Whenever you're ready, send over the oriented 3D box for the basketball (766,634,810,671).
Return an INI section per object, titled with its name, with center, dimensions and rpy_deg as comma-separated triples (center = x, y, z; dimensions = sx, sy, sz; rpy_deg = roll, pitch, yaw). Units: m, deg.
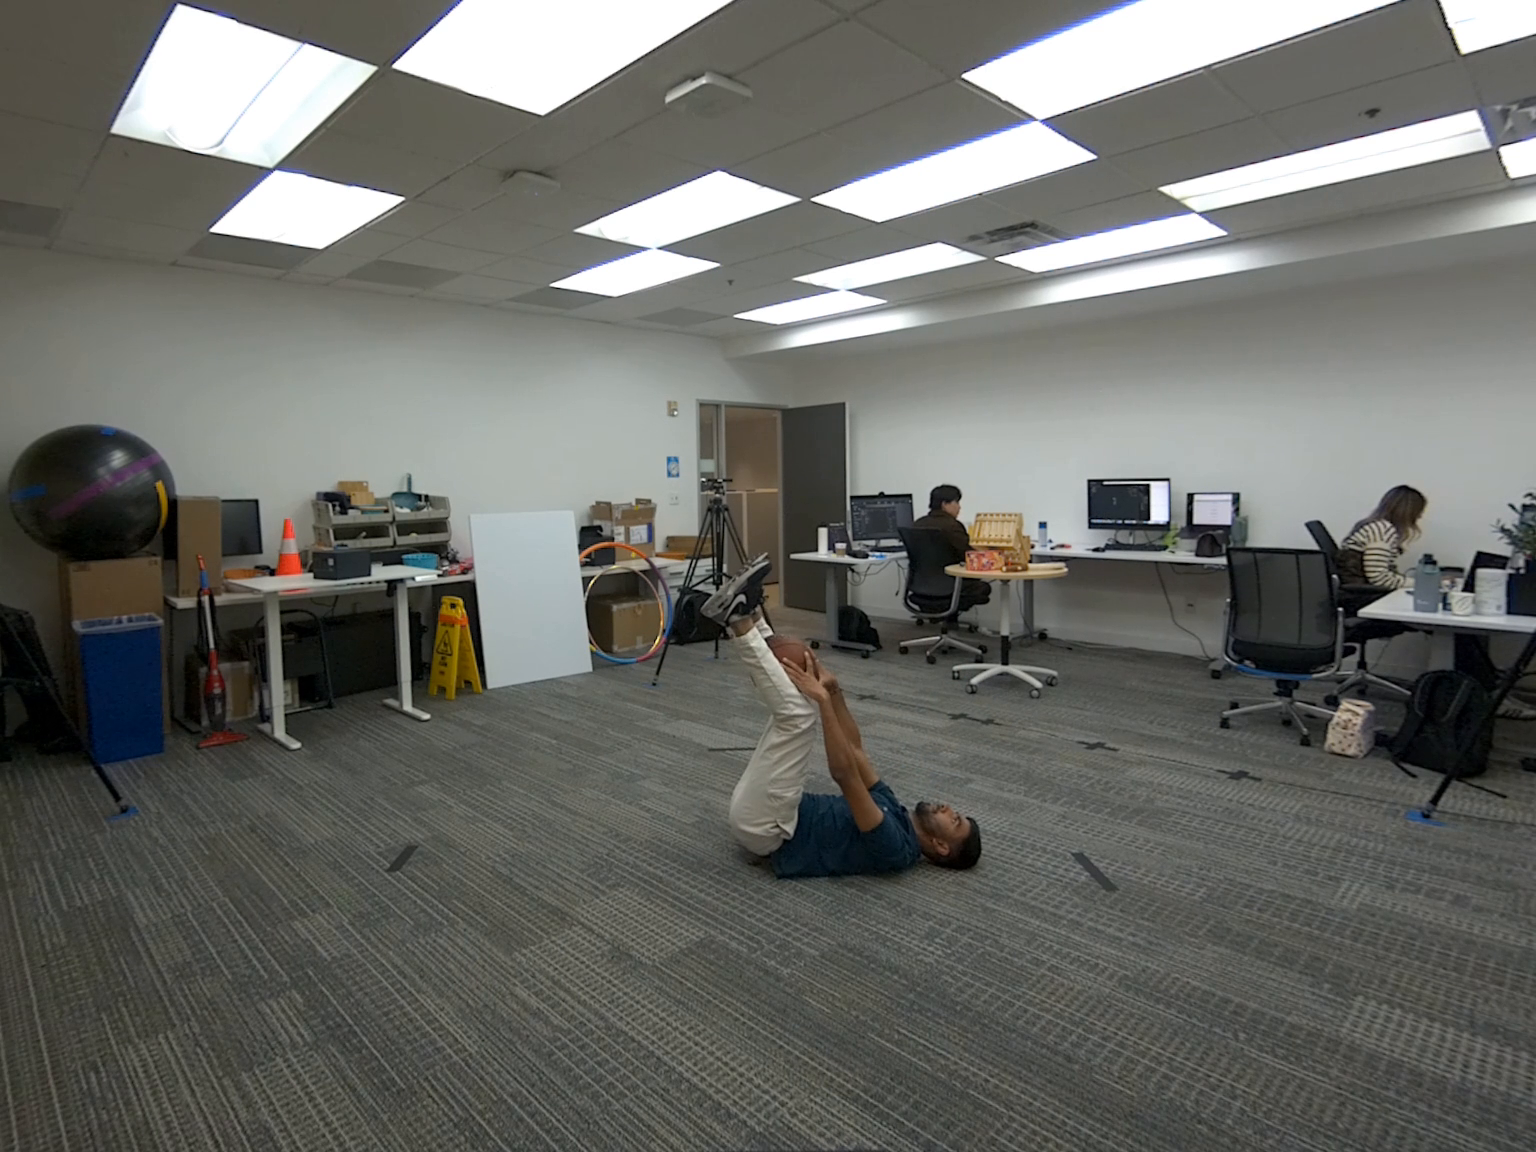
[basketball]
center = 0.050, 0.328, 3.152
dimensions = 0.236, 0.235, 0.237
rpy_deg = -1, 5, -2
